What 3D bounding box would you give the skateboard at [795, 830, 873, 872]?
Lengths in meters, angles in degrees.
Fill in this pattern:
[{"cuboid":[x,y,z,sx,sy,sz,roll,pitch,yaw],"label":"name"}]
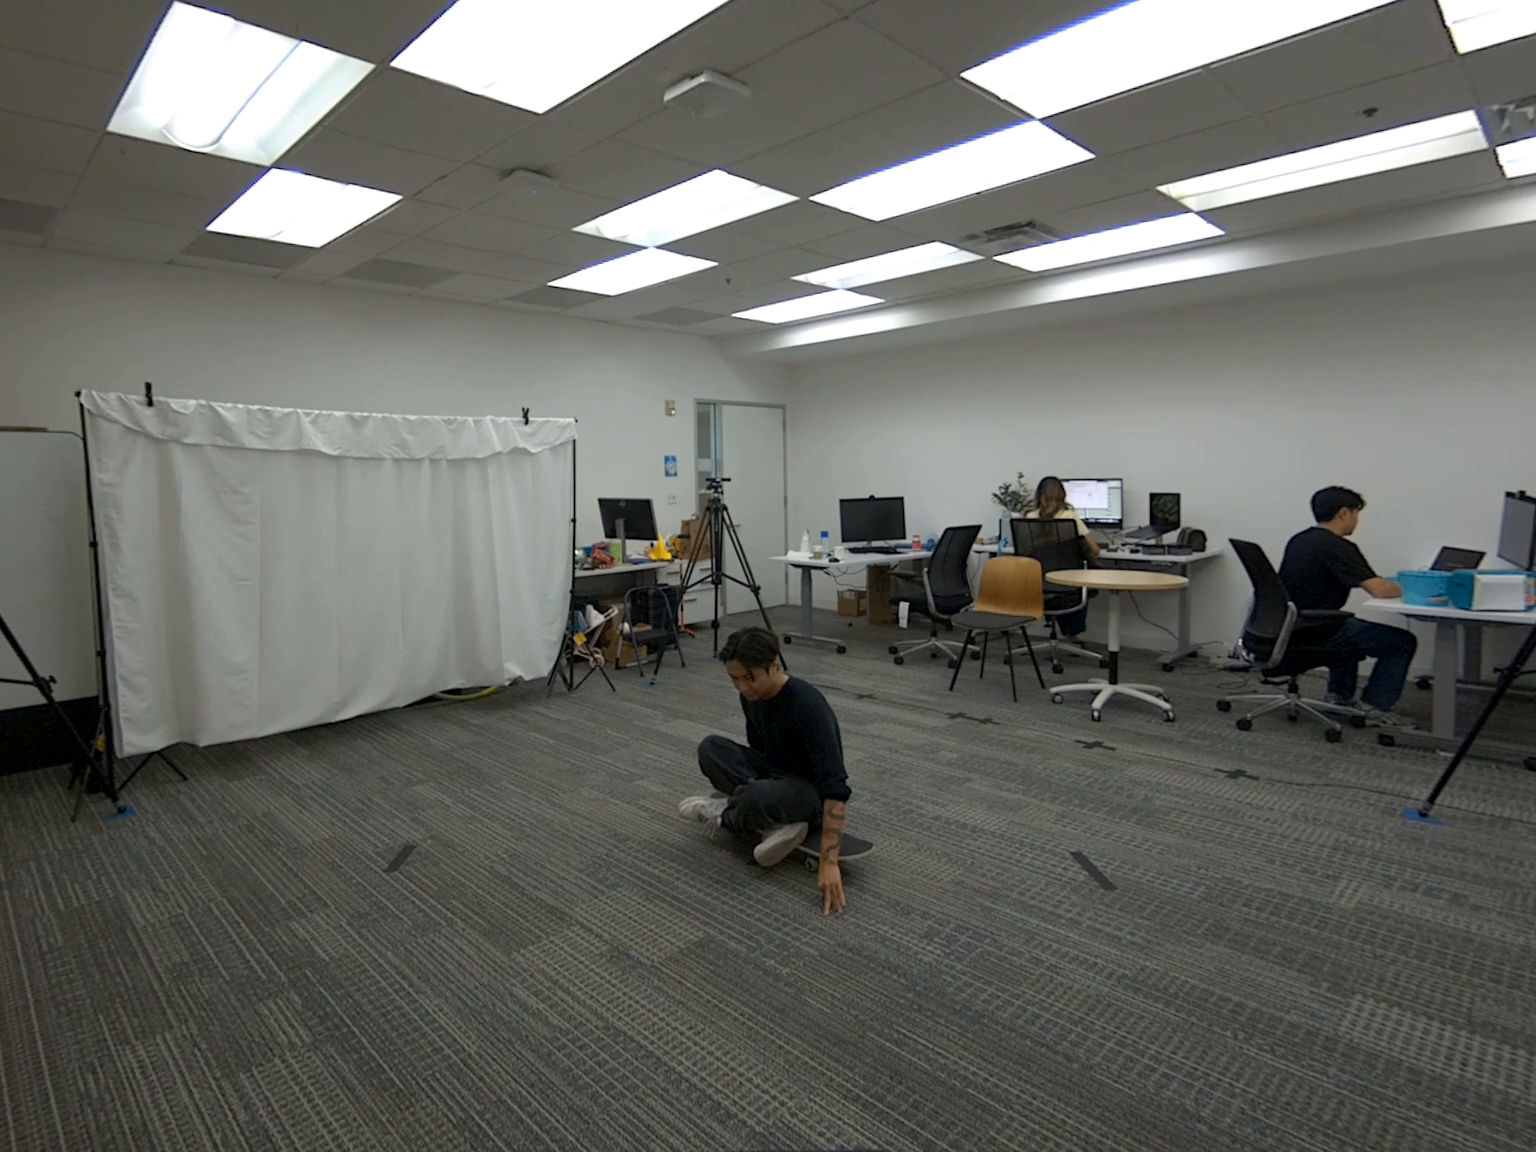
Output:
[{"cuboid":[0.072,0.981,3.228,0.809,0.110,0.189,4,9,44],"label":"skateboard"}]
